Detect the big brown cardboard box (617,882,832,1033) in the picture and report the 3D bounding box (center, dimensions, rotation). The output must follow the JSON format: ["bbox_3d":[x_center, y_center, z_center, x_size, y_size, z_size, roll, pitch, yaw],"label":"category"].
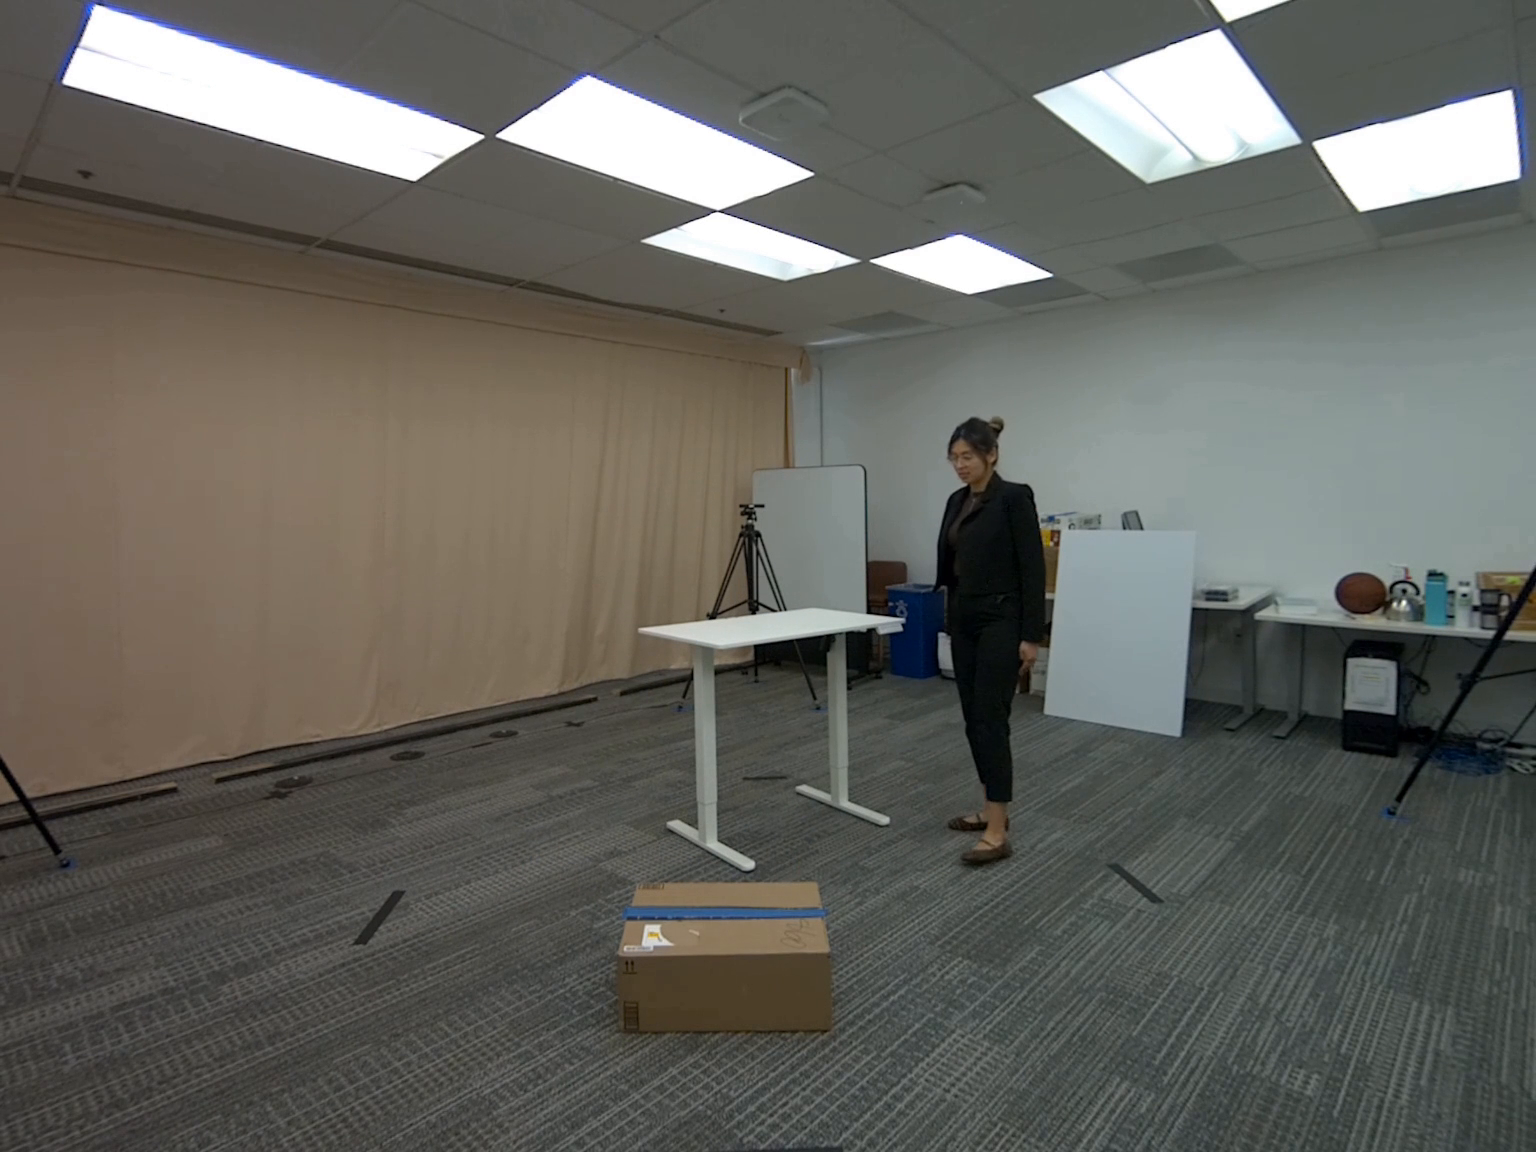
[{"bbox_3d":[-0.119,1.079,2.420,0.589,0.232,0.419,0,4,-1],"label":"big brown cardboard box"}]
